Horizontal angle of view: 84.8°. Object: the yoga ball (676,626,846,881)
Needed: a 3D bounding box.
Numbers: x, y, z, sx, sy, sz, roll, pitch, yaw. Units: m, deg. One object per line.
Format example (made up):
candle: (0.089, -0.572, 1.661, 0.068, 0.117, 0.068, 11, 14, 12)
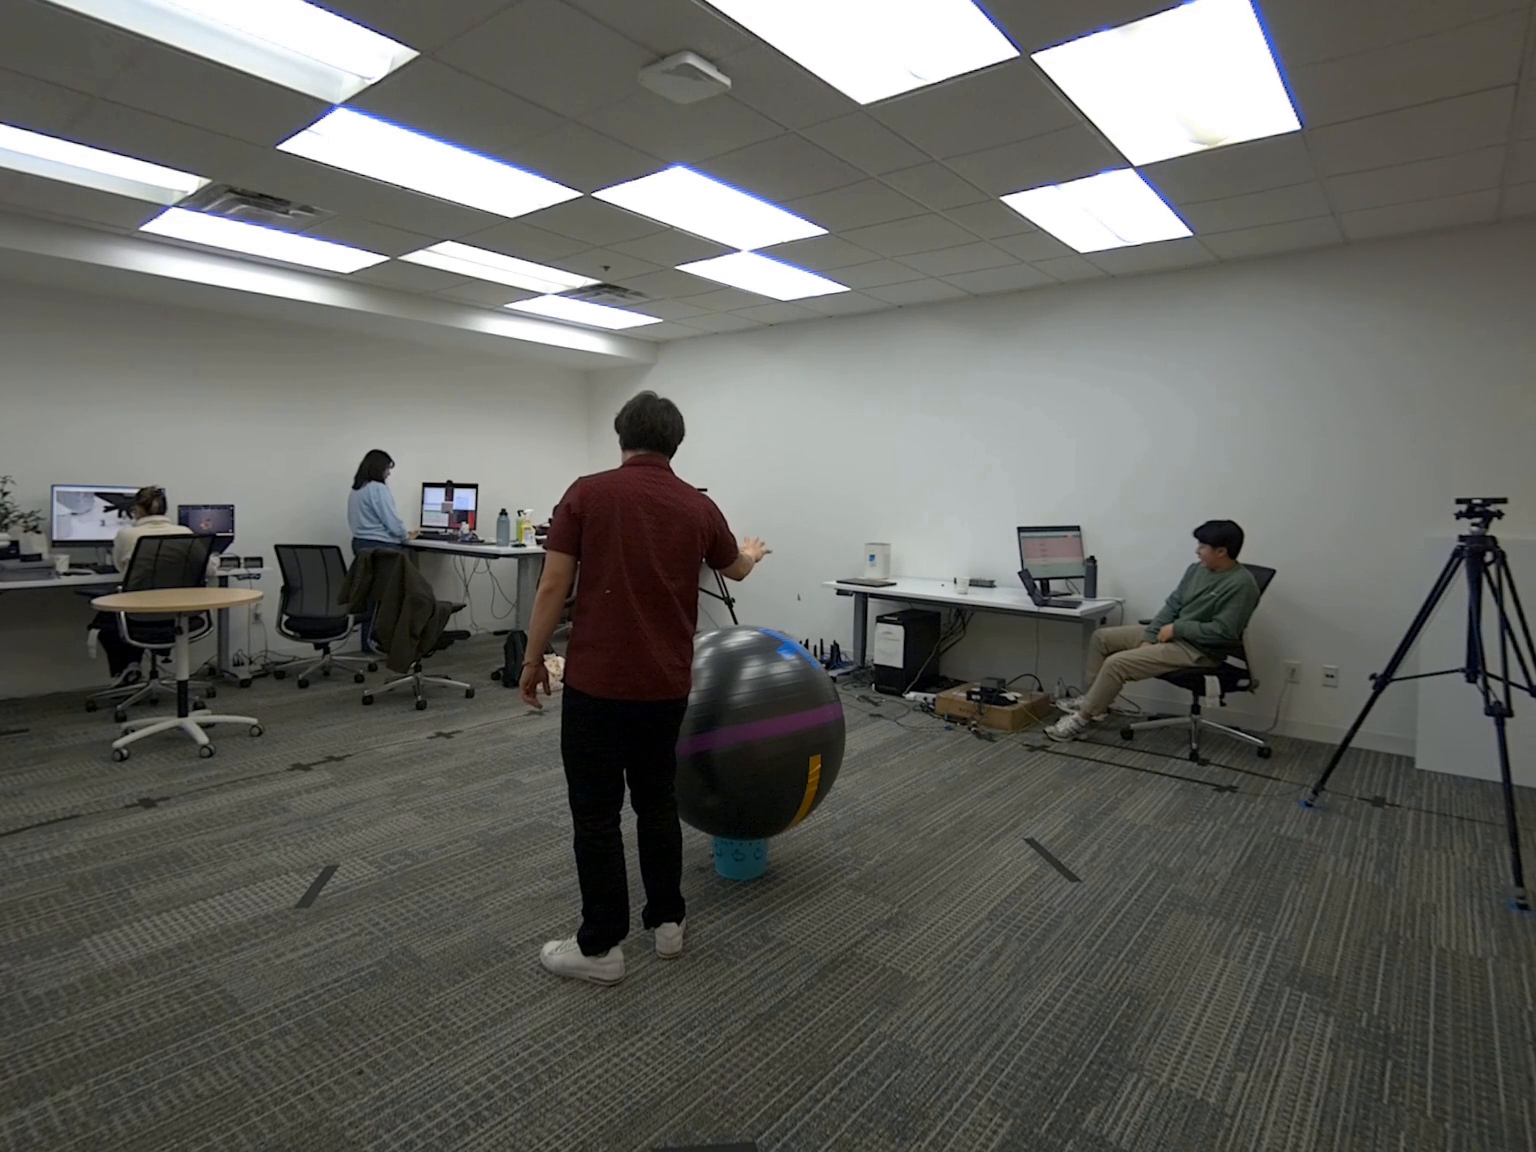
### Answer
yoga ball: (-0.107, 0.565, 3.114, 0.757, 0.755, 0.762, 1, 4, -2)
